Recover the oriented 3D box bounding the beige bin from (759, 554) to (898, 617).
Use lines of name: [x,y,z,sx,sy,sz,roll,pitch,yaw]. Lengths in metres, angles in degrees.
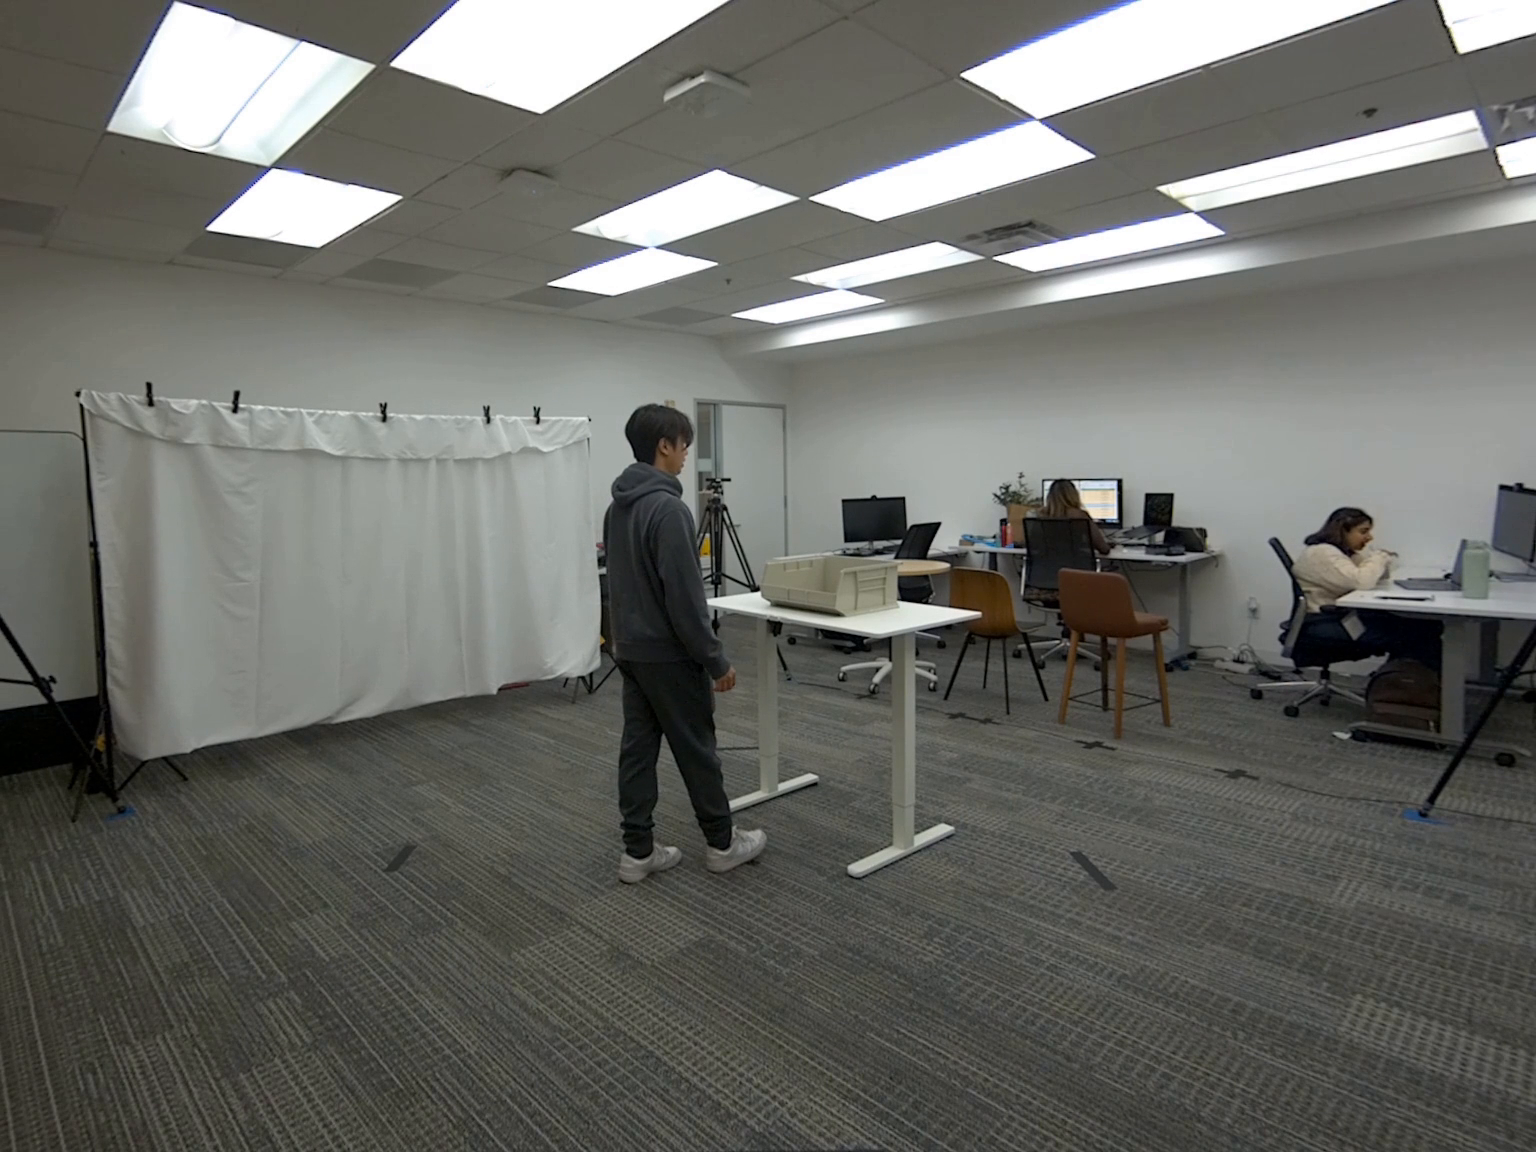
beige bin: [0.249,0.034,3.379,0.367,0.188,0.435,-6,8,-41]
